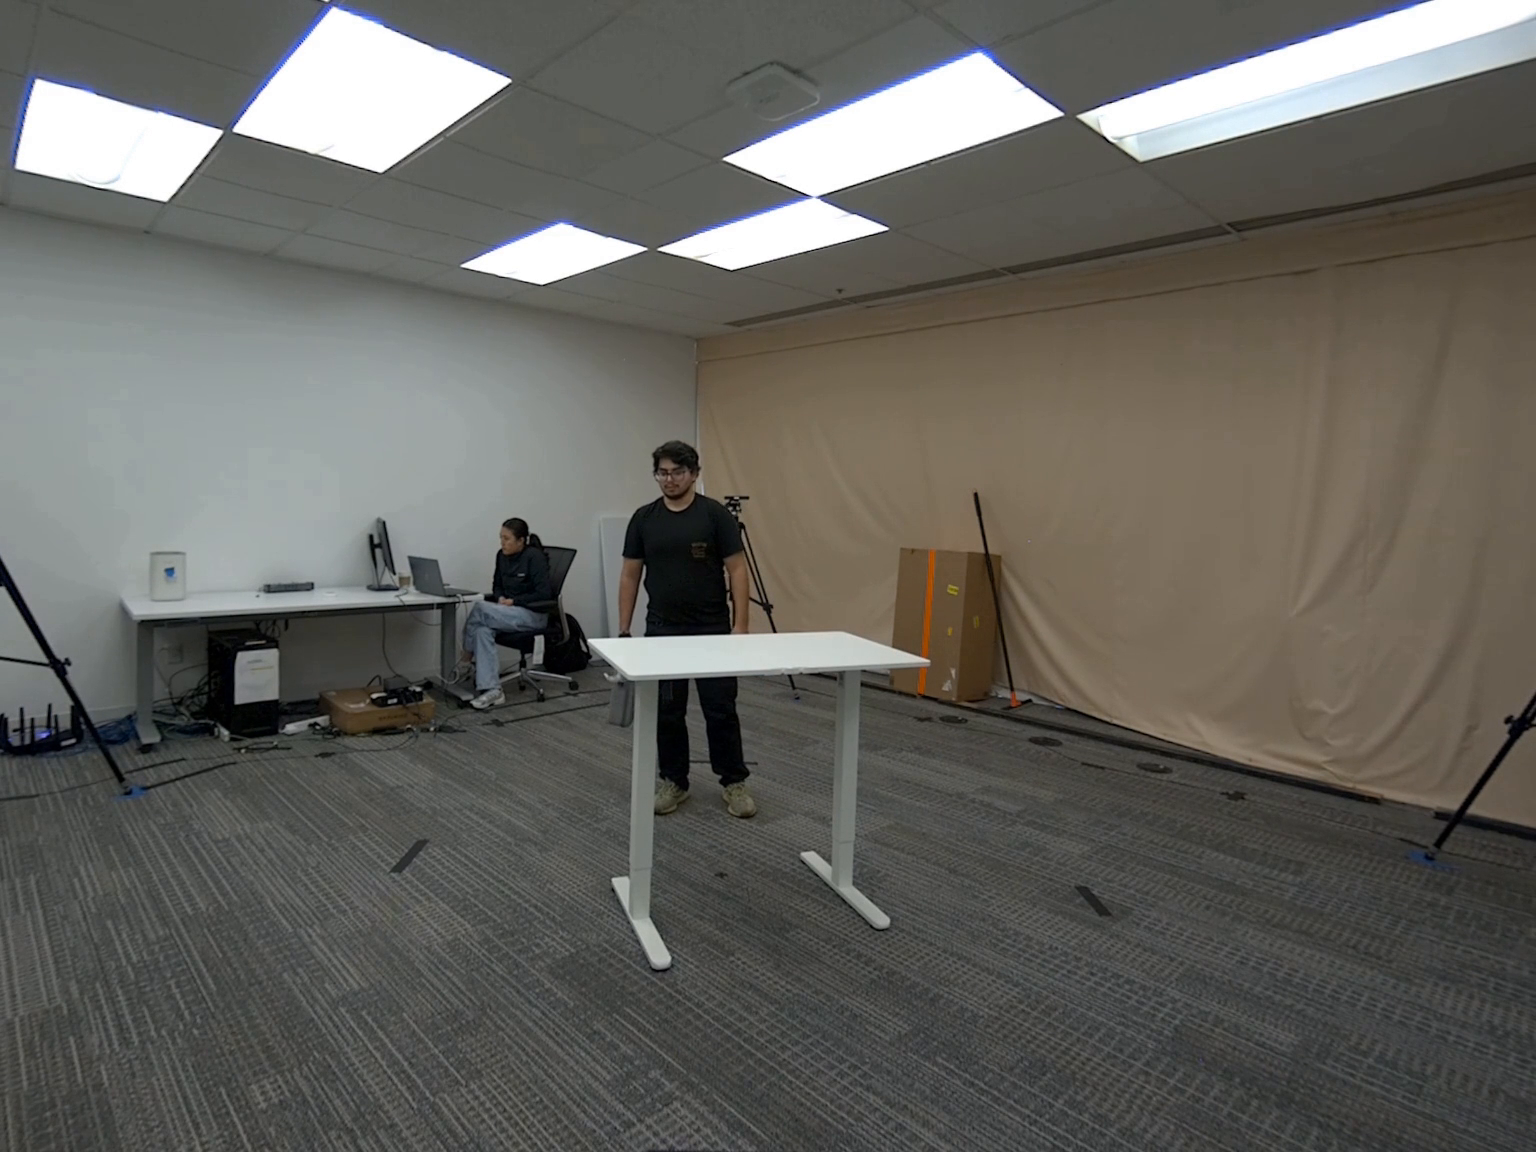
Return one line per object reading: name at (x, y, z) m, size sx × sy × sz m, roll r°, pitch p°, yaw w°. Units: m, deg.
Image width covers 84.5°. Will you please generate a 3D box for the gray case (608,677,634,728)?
gray case at (-0.642, 0.514, 3.725) m, size 0.104 × 0.260 × 0.257 m, roll 7°, pitch 4°, yaw 0°
